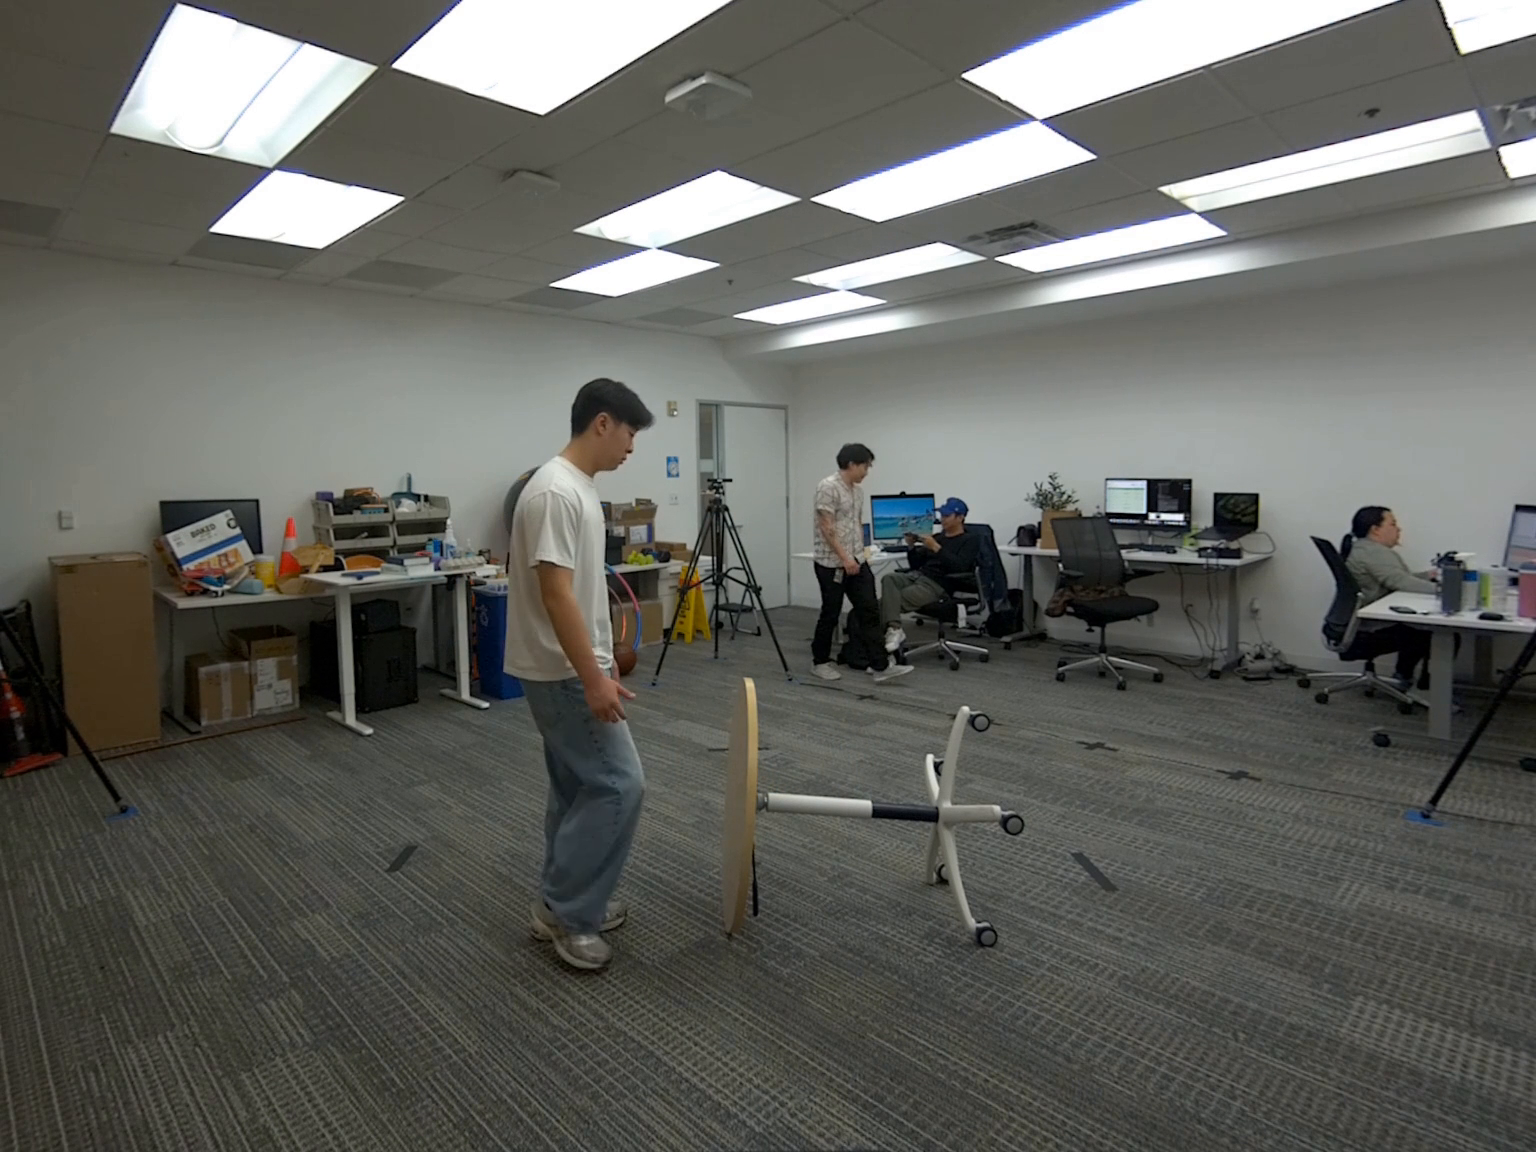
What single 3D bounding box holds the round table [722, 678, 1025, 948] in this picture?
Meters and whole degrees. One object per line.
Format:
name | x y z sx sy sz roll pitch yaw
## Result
round table | 0.285 0.733 2.735 0.783 0.783 0.791 4 4 -5
